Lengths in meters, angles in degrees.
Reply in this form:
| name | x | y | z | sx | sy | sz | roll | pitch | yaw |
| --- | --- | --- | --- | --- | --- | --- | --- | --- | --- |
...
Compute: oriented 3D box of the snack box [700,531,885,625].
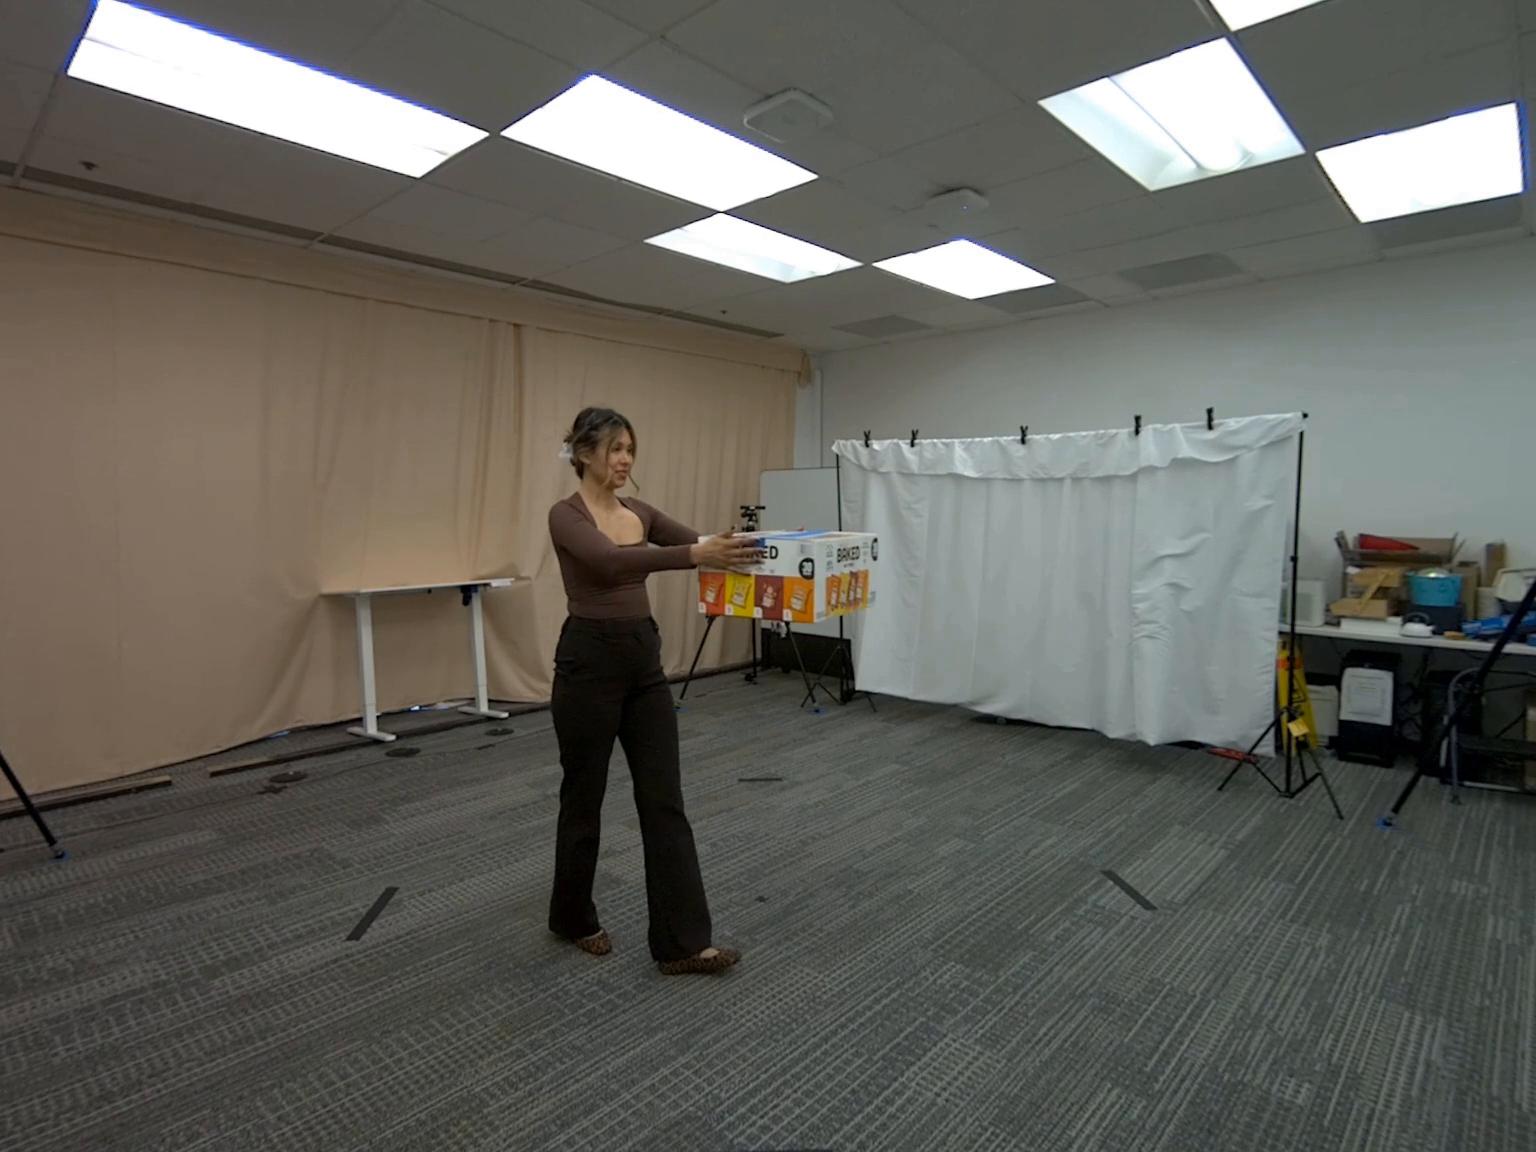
| name | x | y | z | sx | sy | sz | roll | pitch | yaw |
| --- | --- | --- | --- | --- | --- | --- | --- | --- | --- |
| snack box | 0.072 | -0.010 | 2.252 | 0.350 | 0.205 | 0.394 | 2 | 5 | 30 |
